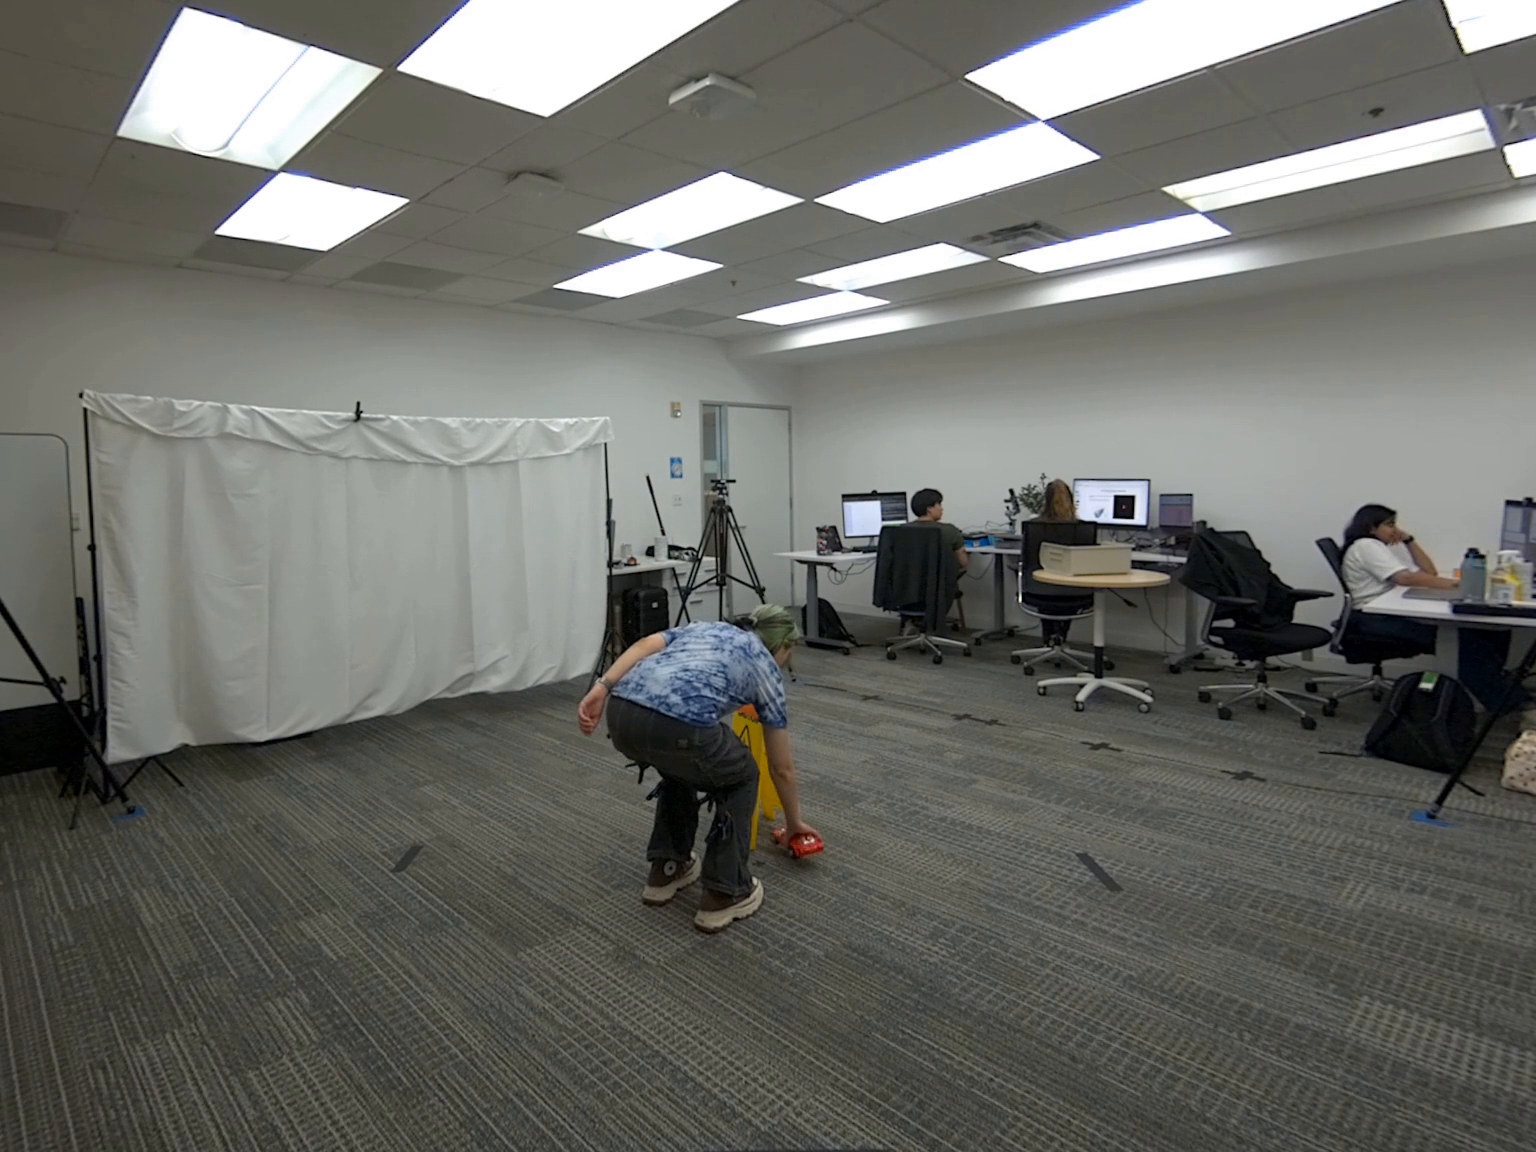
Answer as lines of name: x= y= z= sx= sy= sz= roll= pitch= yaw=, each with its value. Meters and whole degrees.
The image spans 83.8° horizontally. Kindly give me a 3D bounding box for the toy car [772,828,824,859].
toy car: x=0.116 y=0.977 z=3.119 sx=0.128 sy=0.084 sz=0.257 roll=-7 pitch=-6 yaw=-23
